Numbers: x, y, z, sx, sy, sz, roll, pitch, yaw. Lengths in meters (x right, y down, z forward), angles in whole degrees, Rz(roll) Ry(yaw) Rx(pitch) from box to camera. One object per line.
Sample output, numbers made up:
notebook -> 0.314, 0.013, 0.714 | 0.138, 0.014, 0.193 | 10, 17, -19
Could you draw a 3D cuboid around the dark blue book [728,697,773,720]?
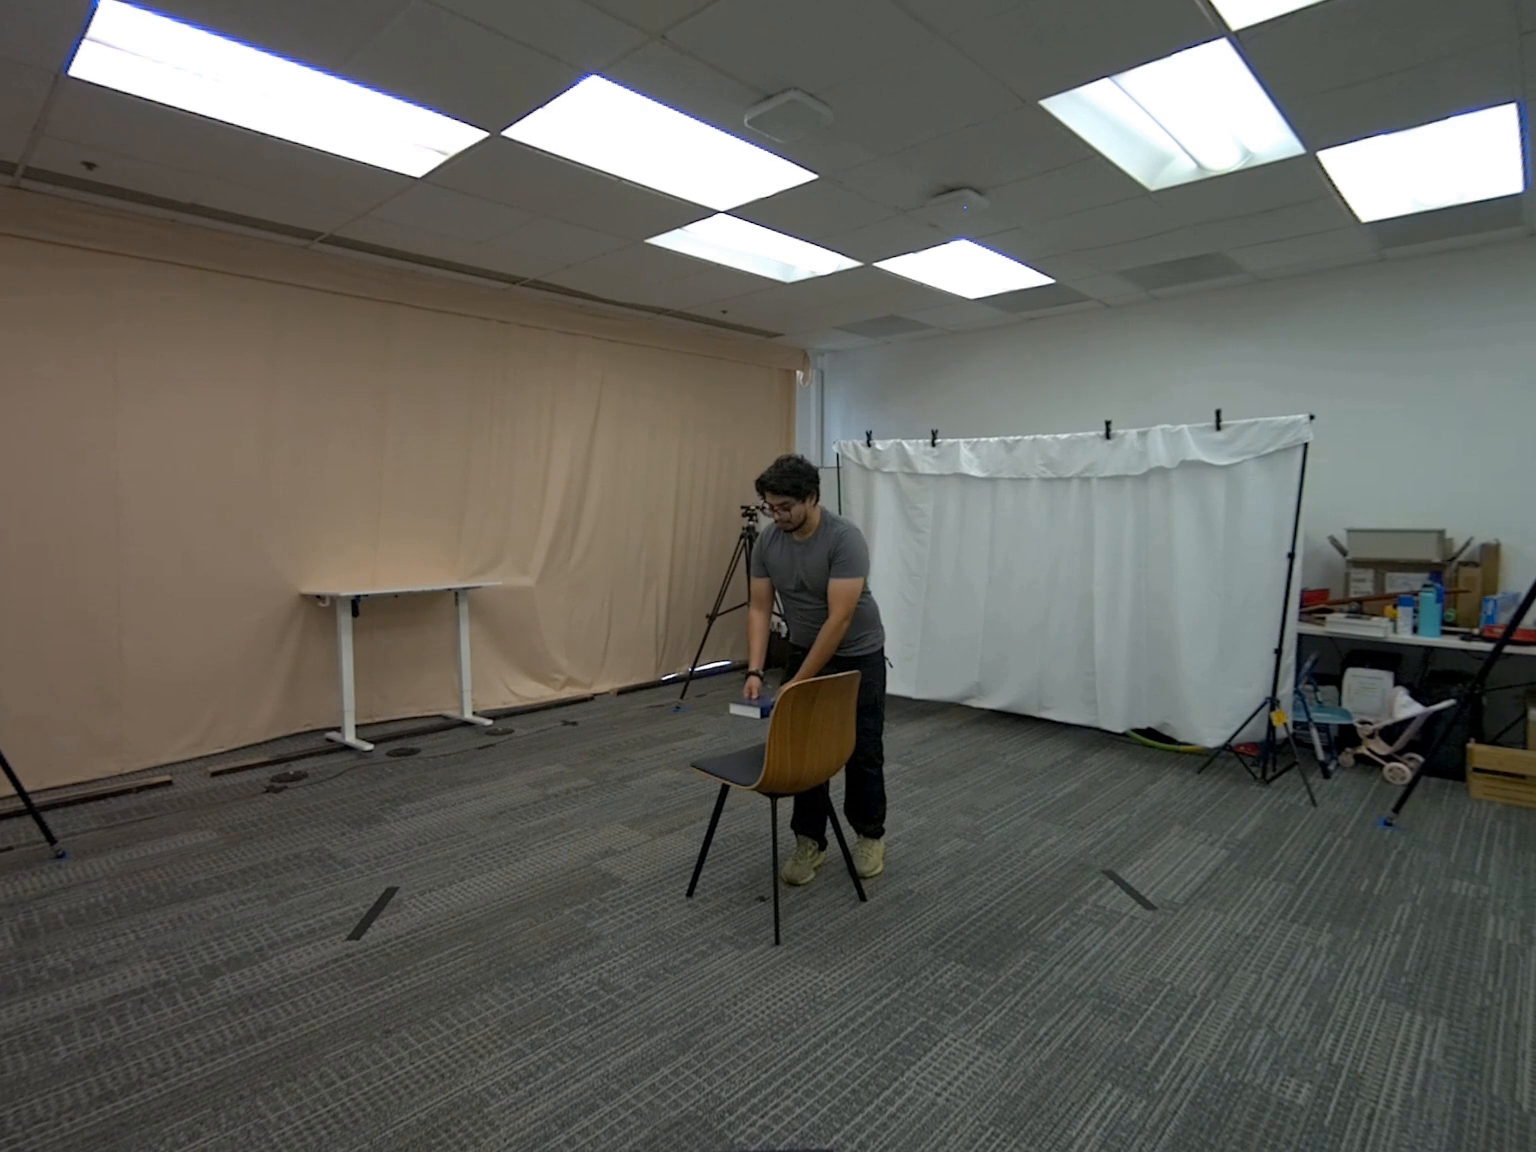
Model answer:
dark blue book -> 0.013, 0.452, 2.984 | 0.238, 0.045, 0.168 | -6, 3, -42
